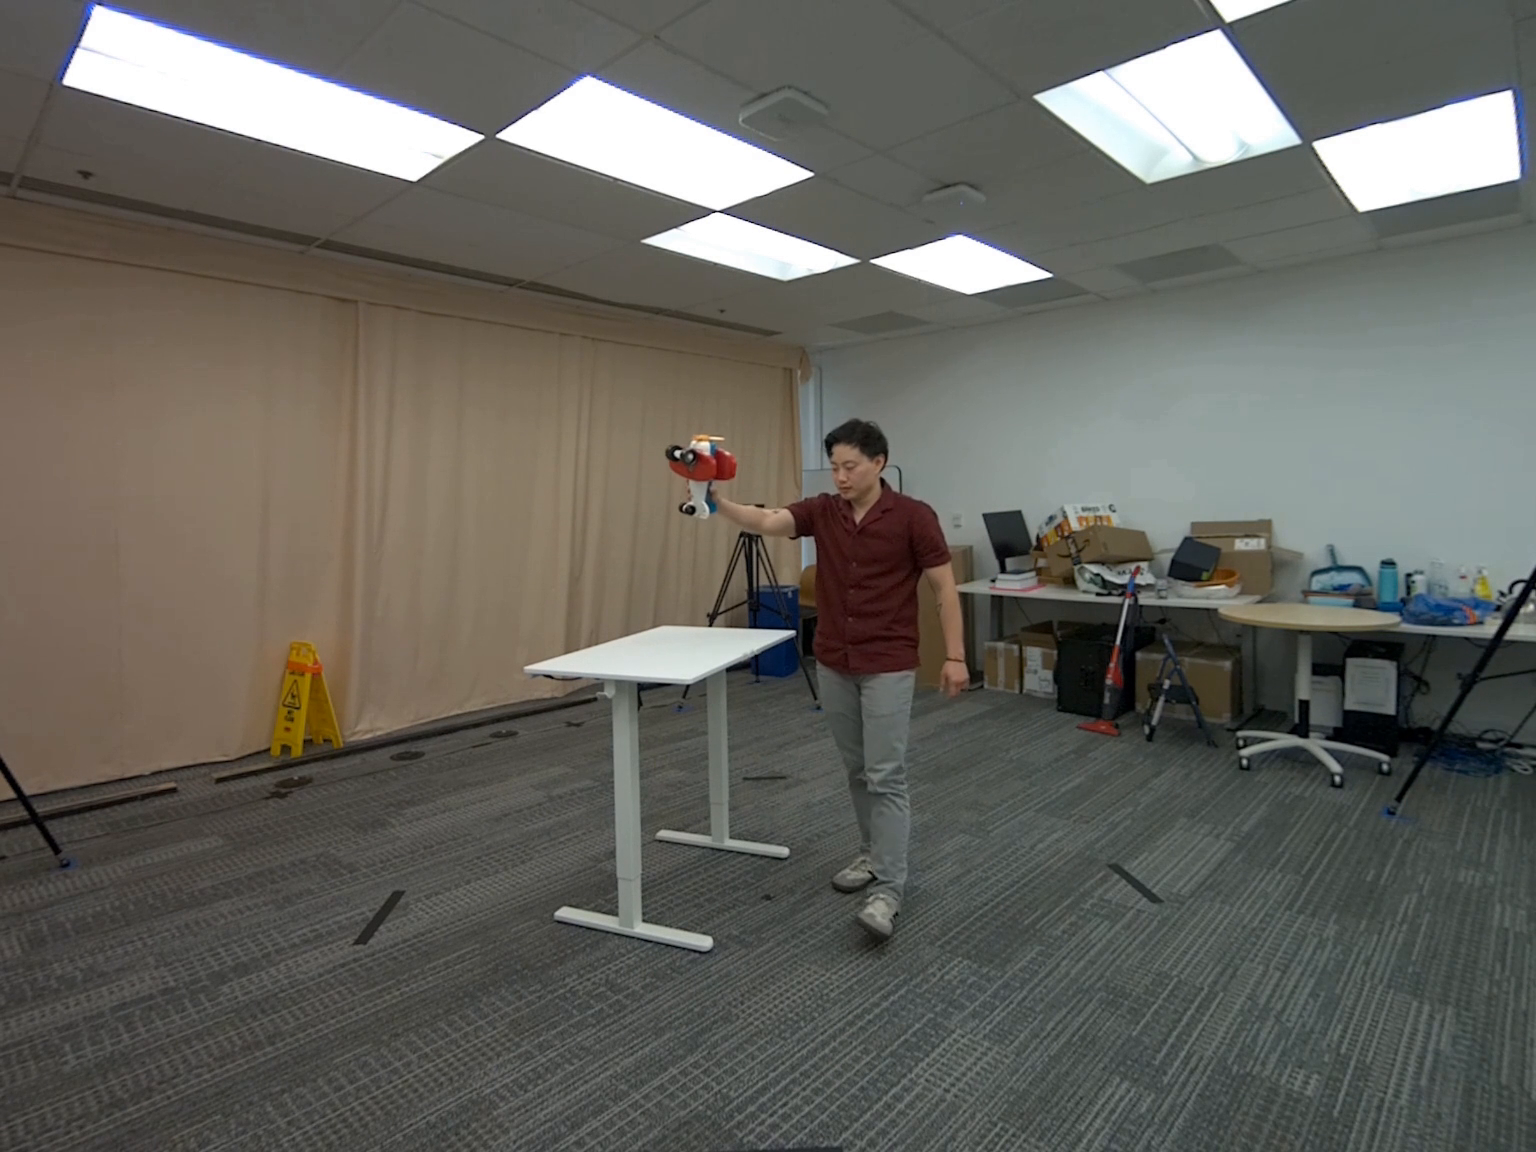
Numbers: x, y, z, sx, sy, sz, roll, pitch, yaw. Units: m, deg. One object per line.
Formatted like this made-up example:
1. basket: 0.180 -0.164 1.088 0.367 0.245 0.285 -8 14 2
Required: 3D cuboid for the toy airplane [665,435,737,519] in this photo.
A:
1. toy airplane: -0.231 -0.324 2.695 0.153 0.256 0.259 -21 53 -31
